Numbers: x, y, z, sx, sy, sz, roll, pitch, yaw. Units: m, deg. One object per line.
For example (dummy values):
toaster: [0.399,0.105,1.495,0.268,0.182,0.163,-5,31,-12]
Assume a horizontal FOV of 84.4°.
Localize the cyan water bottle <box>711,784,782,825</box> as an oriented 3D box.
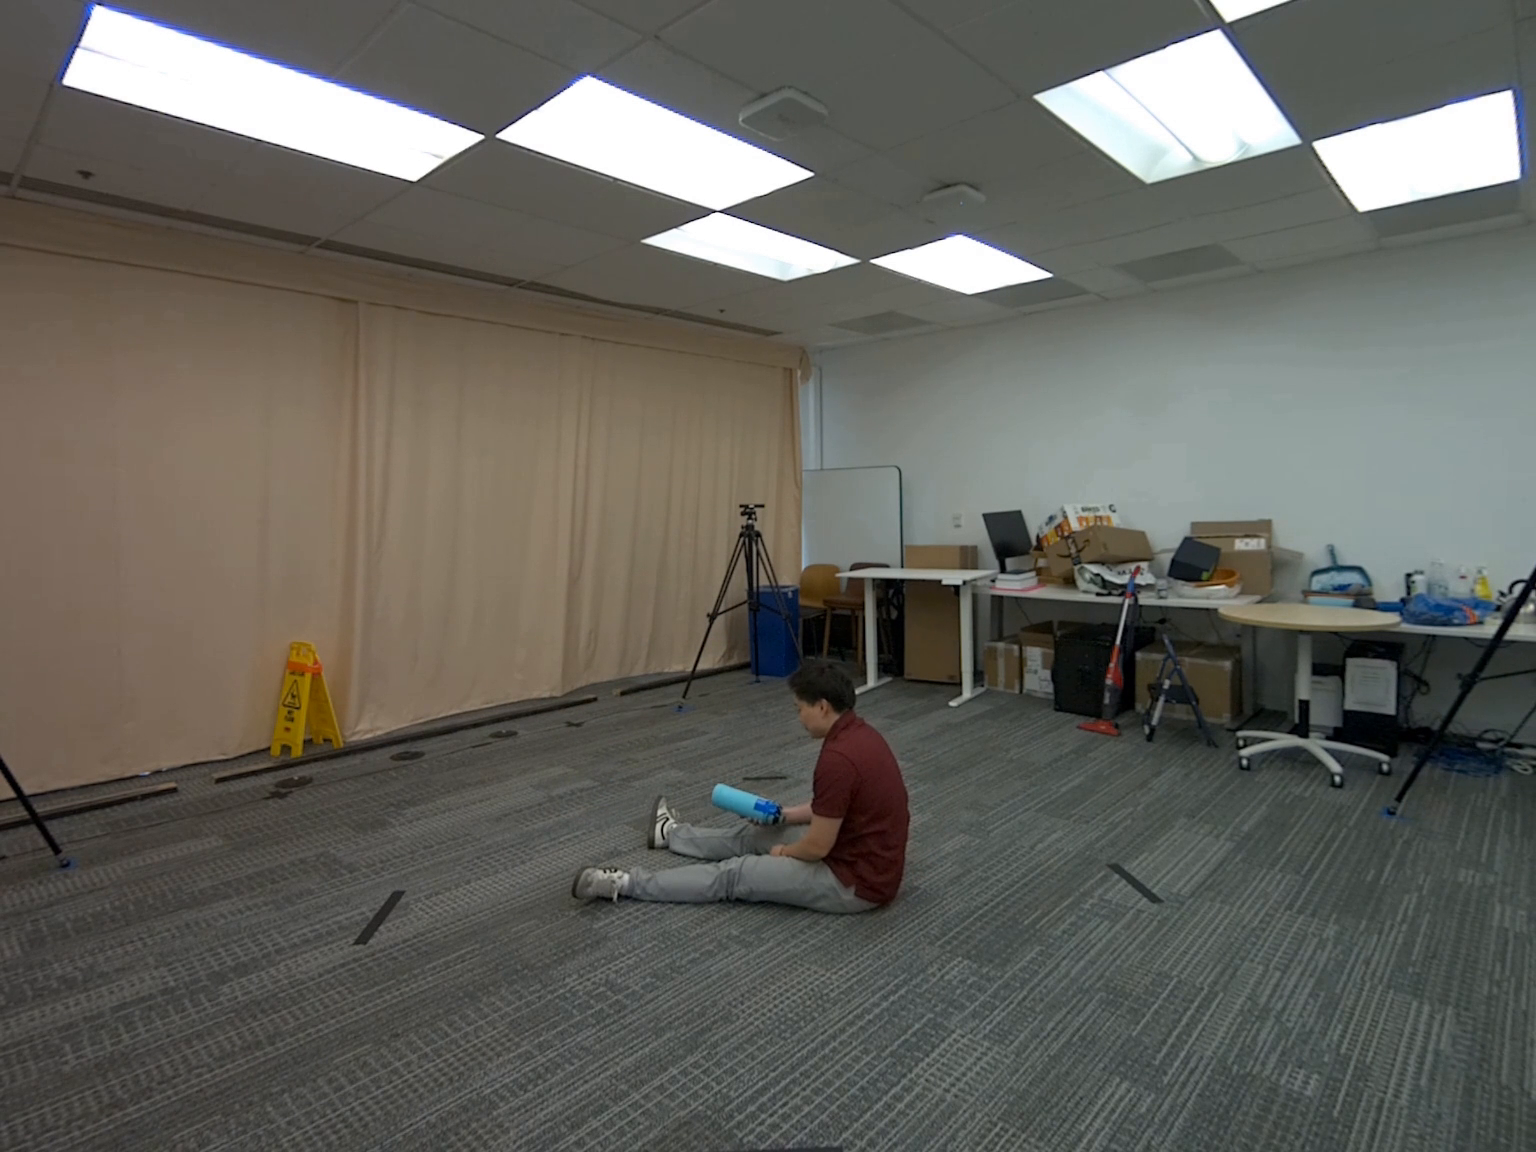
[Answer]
cyan water bottle: [-0.073,0.879,3.203,0.291,0.092,0.090,12,8,23]
